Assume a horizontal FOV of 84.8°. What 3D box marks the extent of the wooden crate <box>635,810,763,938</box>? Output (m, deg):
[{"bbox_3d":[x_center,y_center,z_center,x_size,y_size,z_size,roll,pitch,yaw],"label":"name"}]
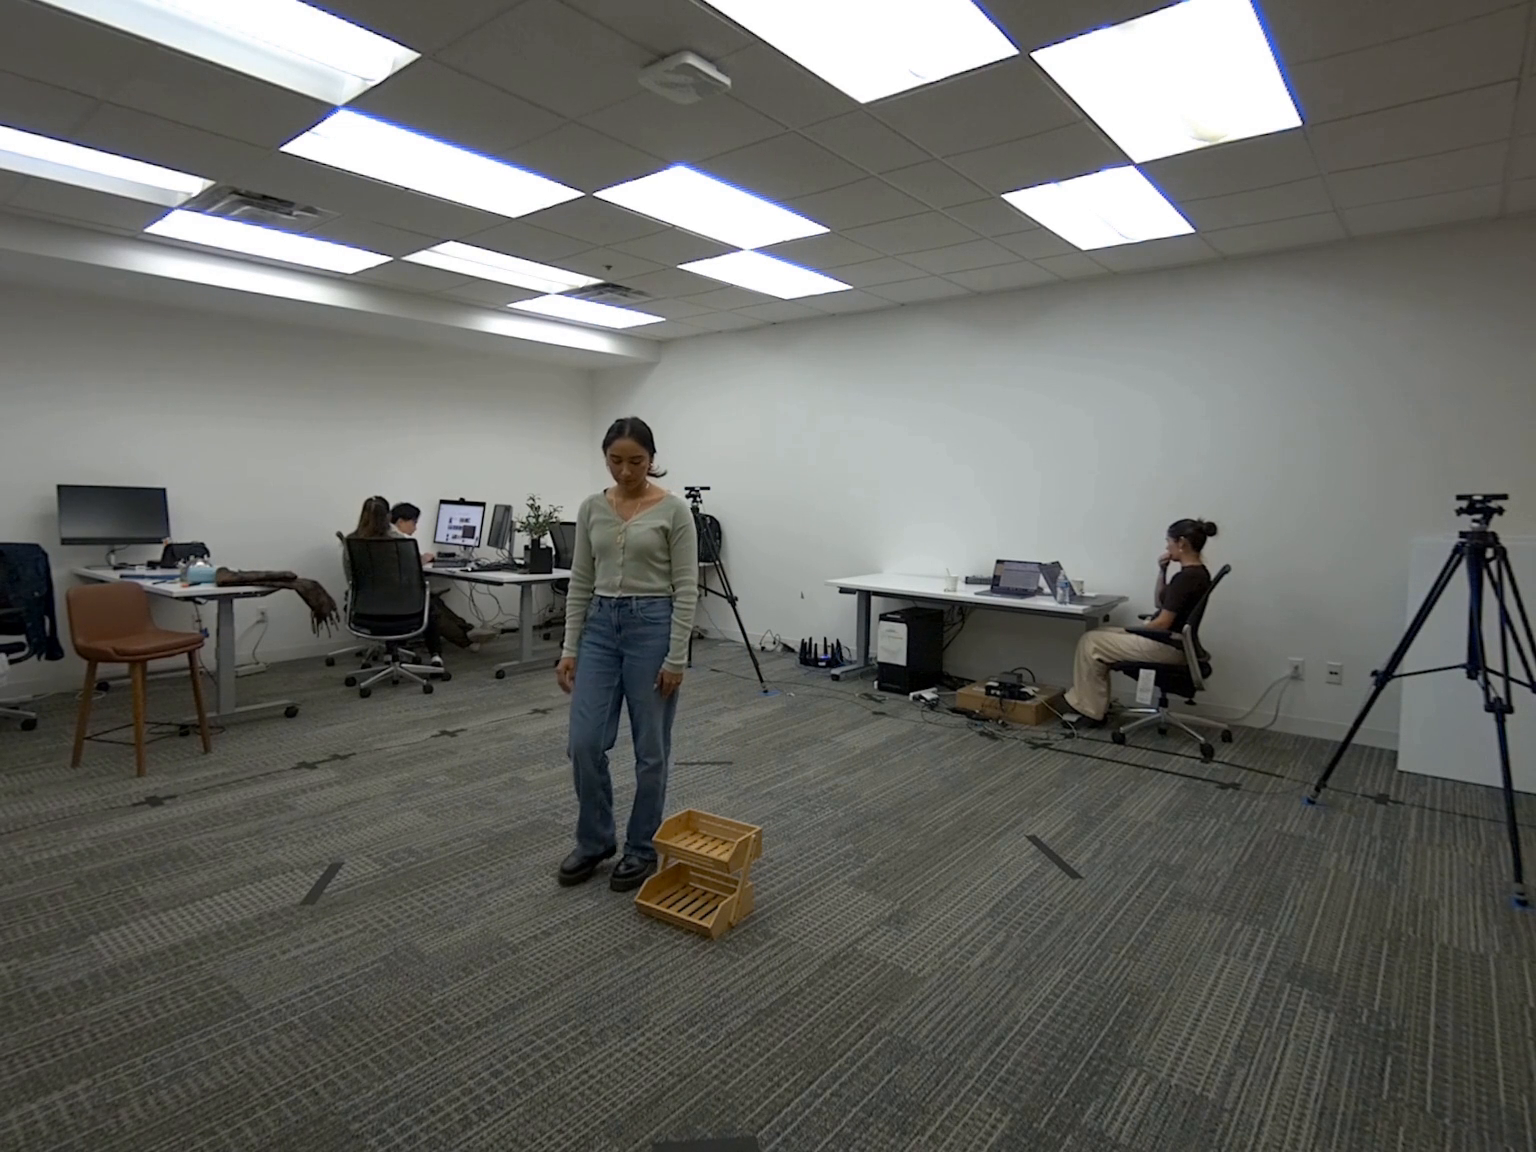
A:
[{"bbox_3d":[-0.237,0.961,2.791,0.334,0.273,0.294,3,4,31],"label":"wooden crate"}]
